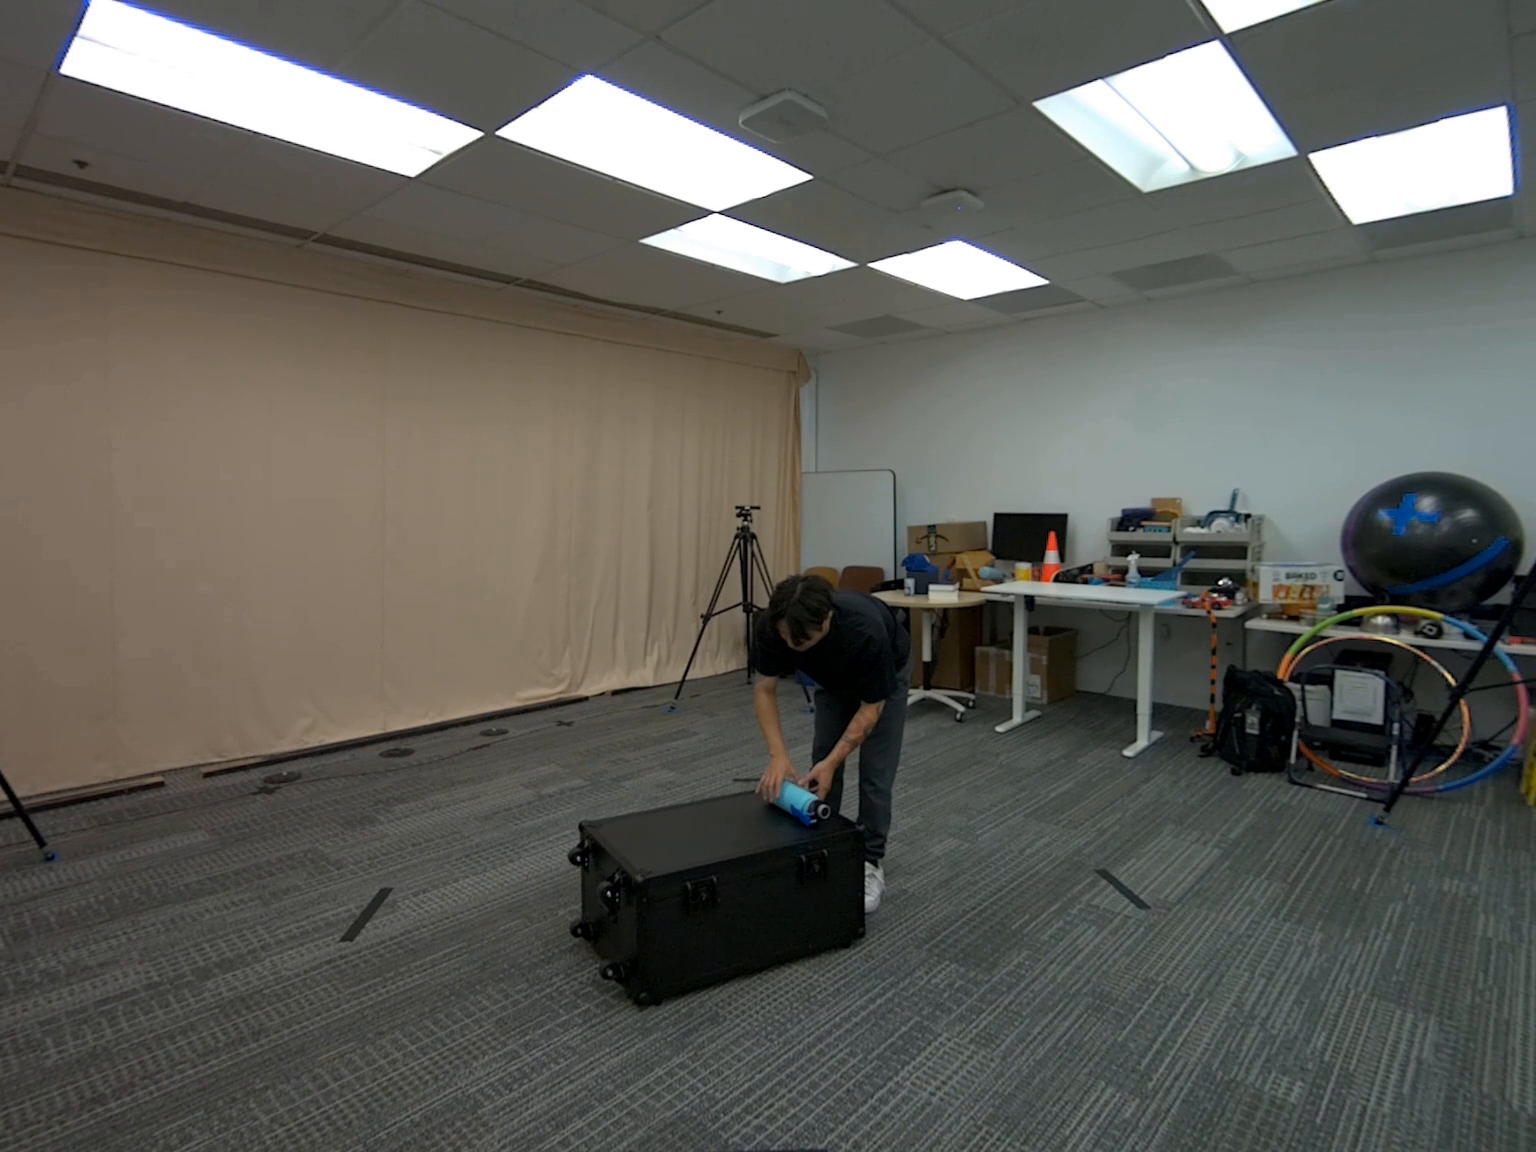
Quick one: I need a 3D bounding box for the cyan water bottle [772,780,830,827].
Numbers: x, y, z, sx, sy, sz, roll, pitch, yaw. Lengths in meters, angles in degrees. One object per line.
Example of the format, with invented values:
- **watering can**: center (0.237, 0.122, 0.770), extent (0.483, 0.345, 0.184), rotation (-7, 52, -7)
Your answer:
- **cyan water bottle**: center (0.093, 0.737, 2.777), extent (0.090, 0.092, 0.292), rotation (-2, 6, -31)
